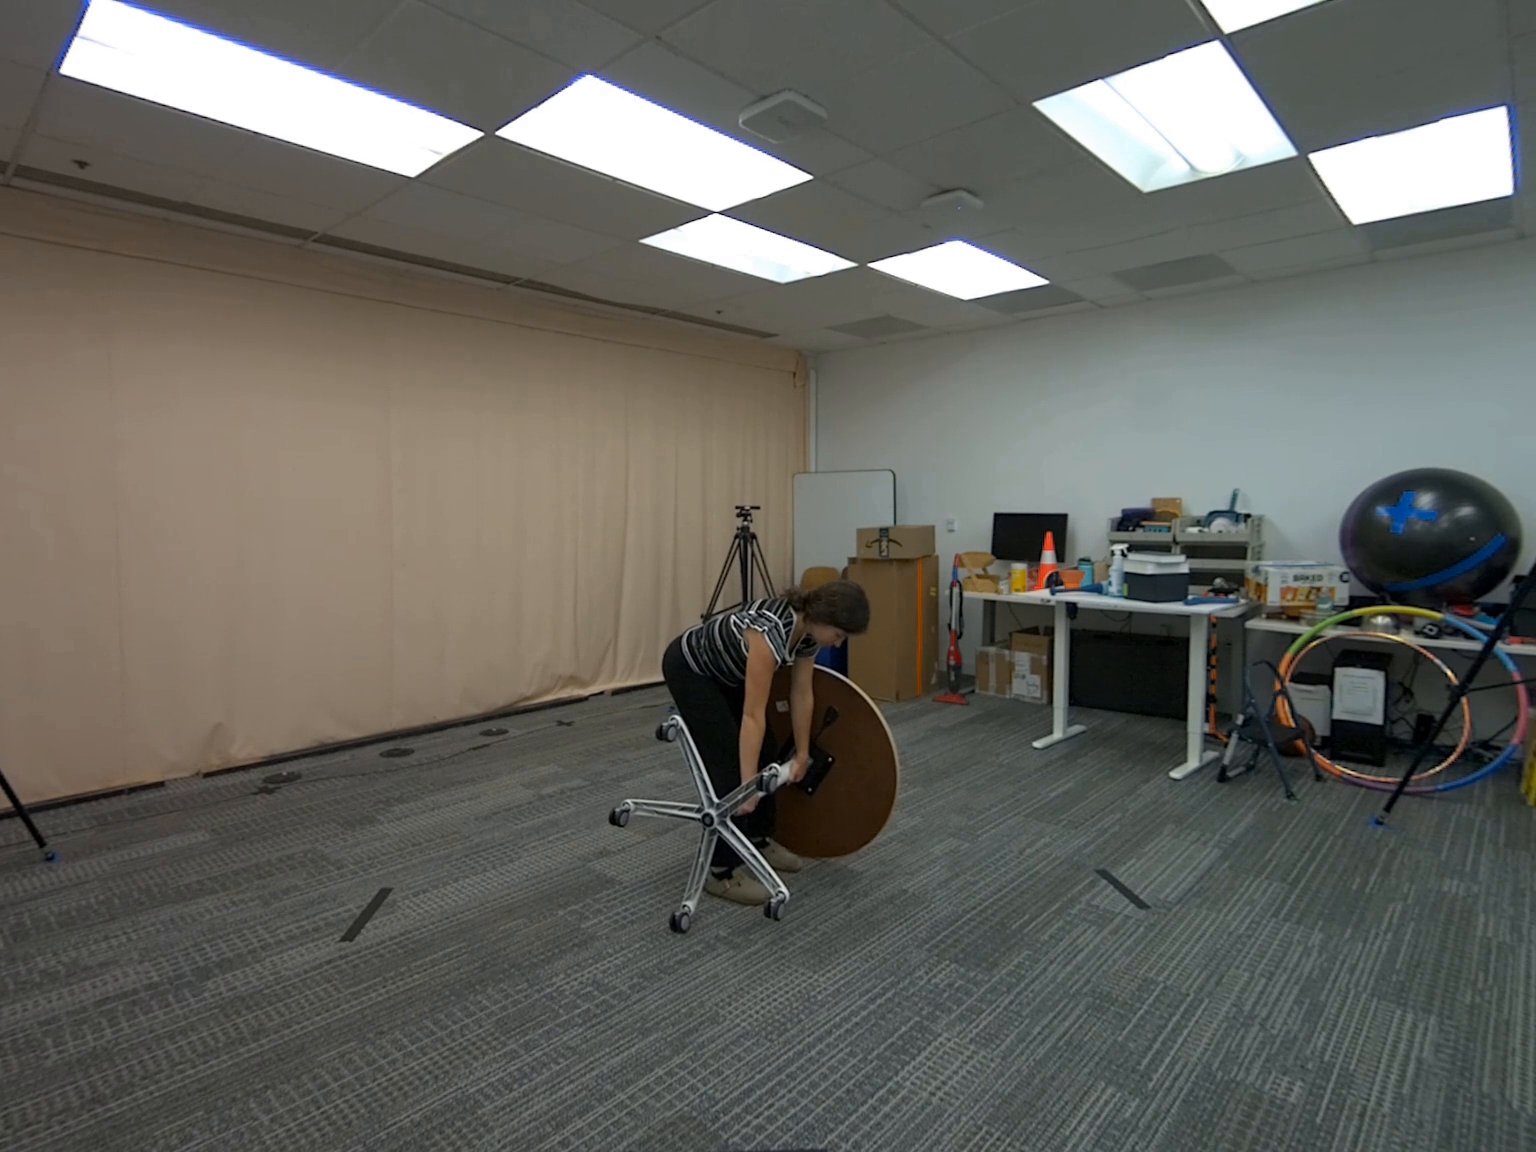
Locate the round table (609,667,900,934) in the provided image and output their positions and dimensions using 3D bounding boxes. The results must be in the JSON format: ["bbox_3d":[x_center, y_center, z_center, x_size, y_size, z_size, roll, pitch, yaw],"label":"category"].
[{"bbox_3d":[-0.038,0.765,2.991,0.787,0.761,0.773,2,7,32],"label":"round table"}]
